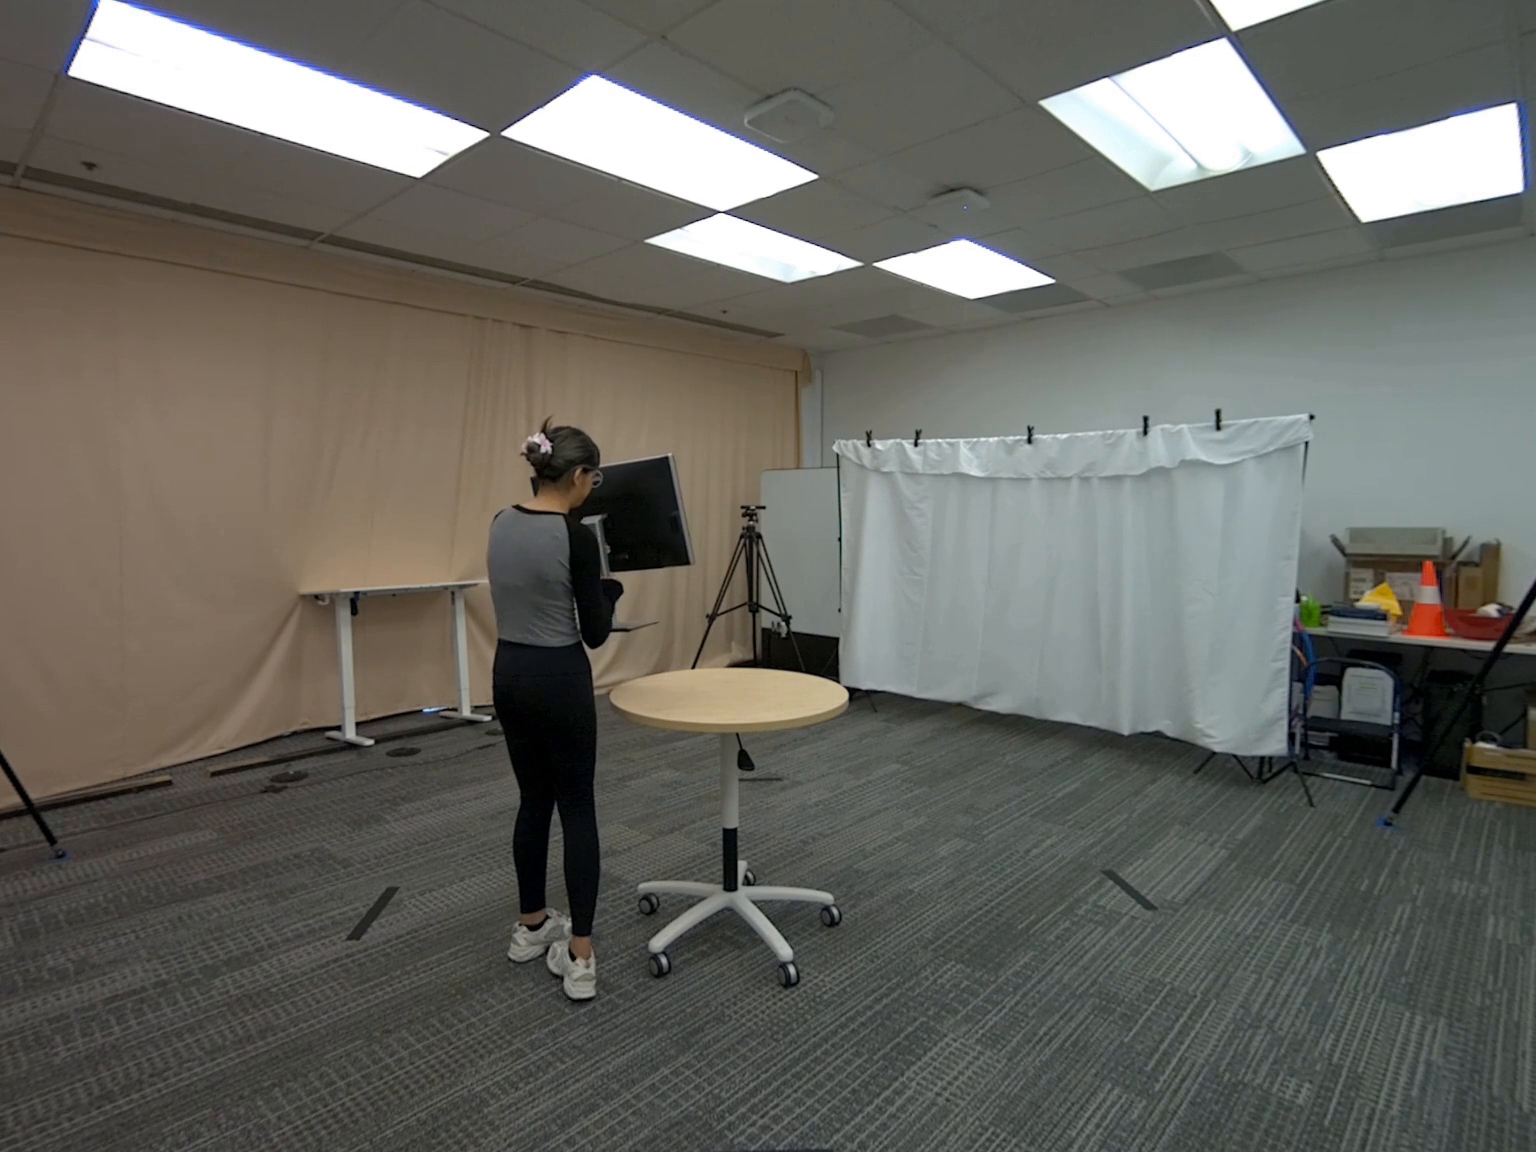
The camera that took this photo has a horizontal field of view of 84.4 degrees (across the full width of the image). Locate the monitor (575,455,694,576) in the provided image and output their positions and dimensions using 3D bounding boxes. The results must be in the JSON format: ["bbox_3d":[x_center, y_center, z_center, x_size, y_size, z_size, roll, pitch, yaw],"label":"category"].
[{"bbox_3d":[-0.527,-0.096,2.761,0.552,0.522,0.183,-4,1,25],"label":"monitor"}]
